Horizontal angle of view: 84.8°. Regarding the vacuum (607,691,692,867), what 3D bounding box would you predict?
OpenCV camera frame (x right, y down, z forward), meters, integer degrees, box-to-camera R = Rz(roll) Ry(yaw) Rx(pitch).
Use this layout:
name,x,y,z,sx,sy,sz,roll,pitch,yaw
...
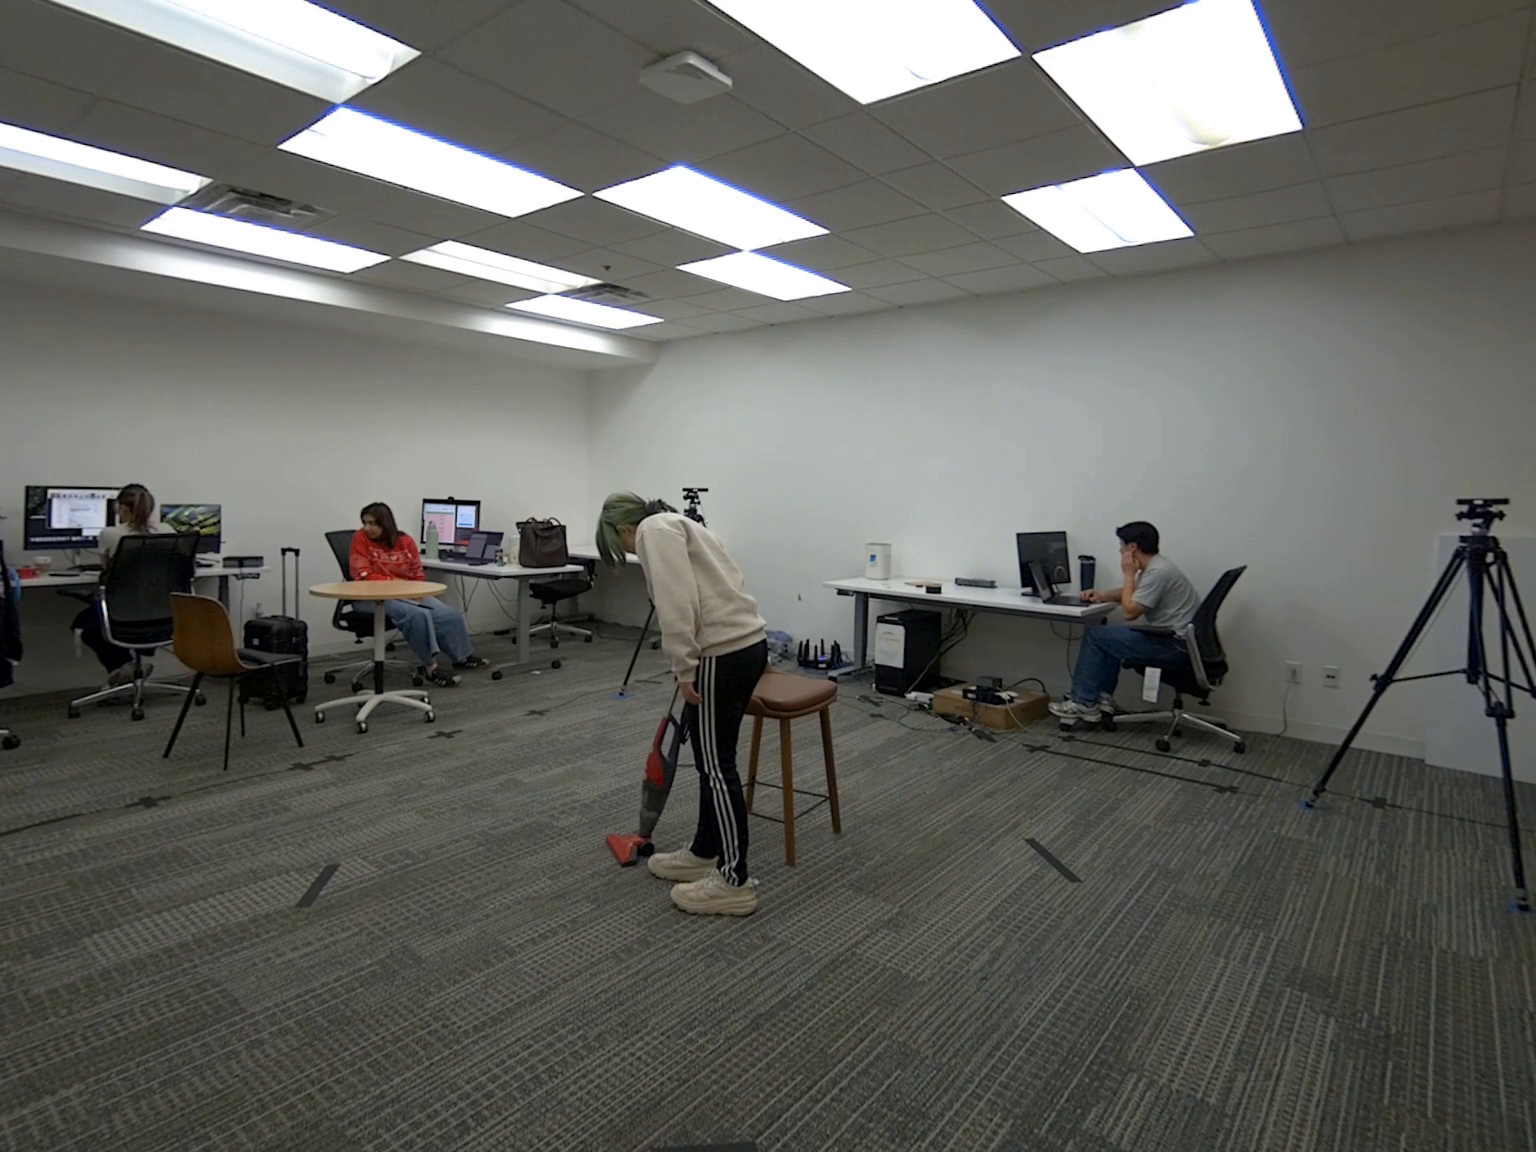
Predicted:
name,x,y,z,sx,sy,sz,roll,pitch,yaw
vacuum,-0.378,0.556,3.305,0.140,1.054,0.259,21,-8,-26
